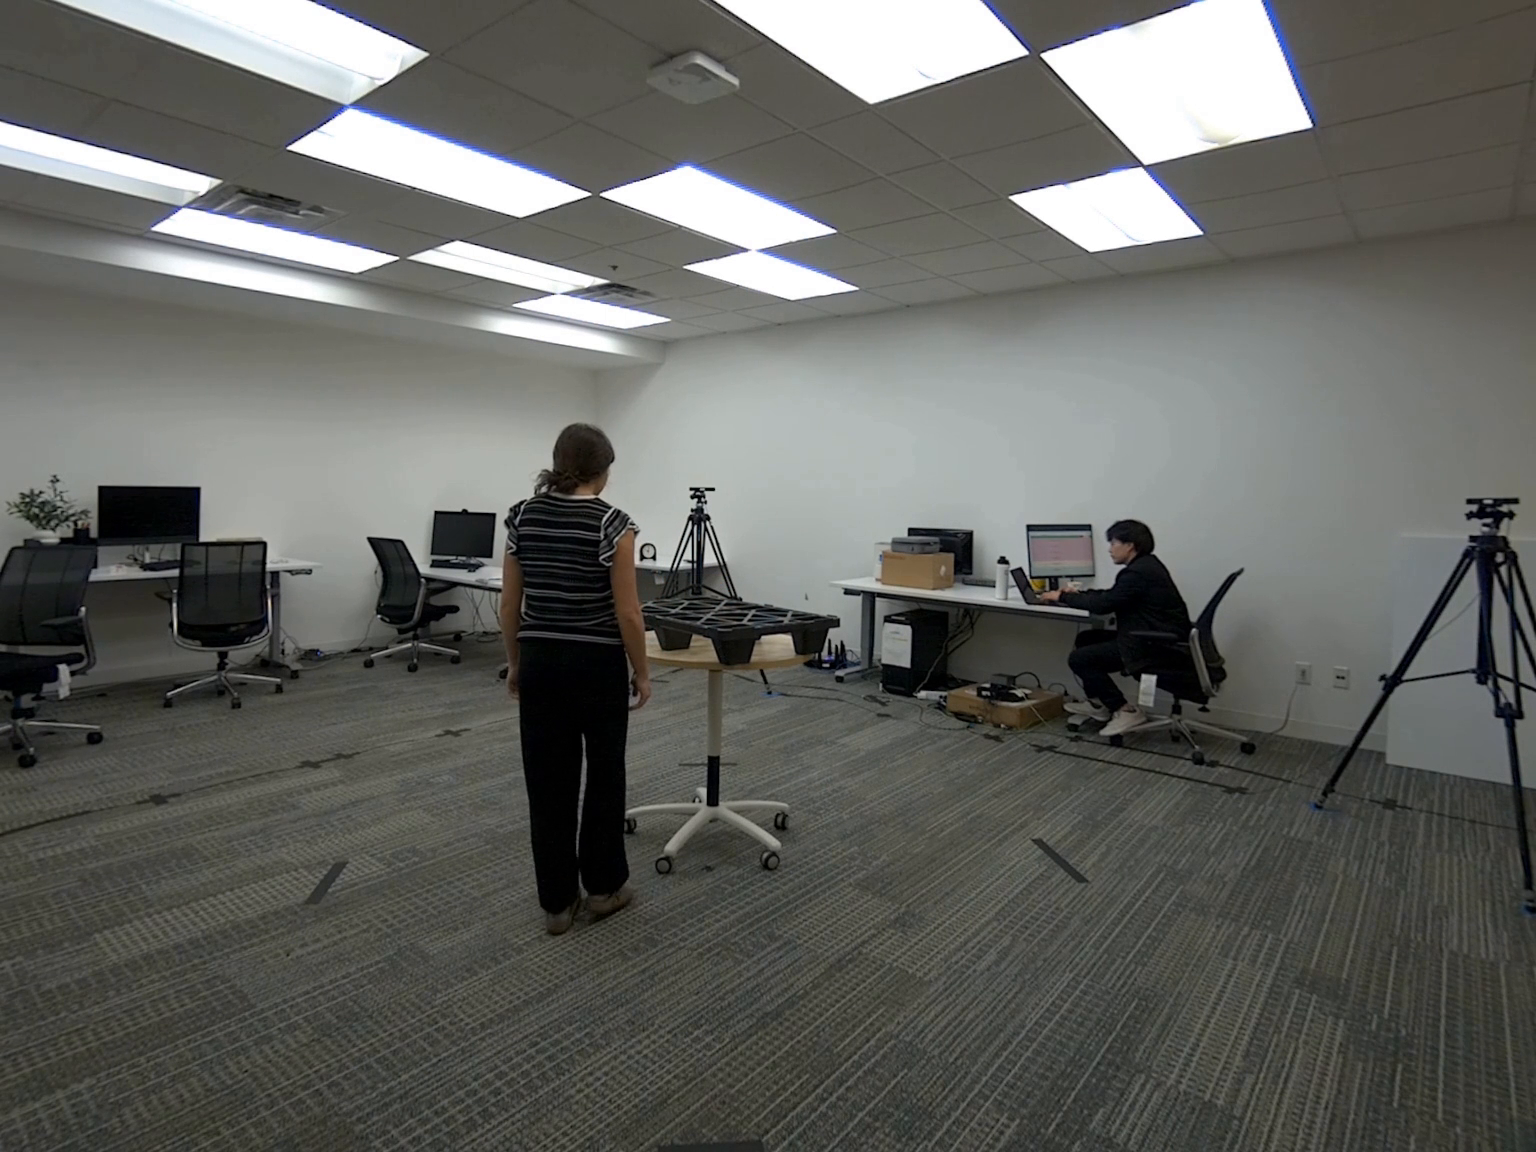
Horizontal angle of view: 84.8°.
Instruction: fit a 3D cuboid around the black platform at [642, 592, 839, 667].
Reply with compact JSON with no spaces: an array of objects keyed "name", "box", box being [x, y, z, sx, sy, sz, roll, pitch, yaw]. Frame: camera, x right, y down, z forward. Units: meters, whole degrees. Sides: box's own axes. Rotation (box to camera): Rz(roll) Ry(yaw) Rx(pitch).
[{"name":"black platform","box":[-0.231,0.199,3.315,0.587,0.143,0.834,-3,7,-42]}]
